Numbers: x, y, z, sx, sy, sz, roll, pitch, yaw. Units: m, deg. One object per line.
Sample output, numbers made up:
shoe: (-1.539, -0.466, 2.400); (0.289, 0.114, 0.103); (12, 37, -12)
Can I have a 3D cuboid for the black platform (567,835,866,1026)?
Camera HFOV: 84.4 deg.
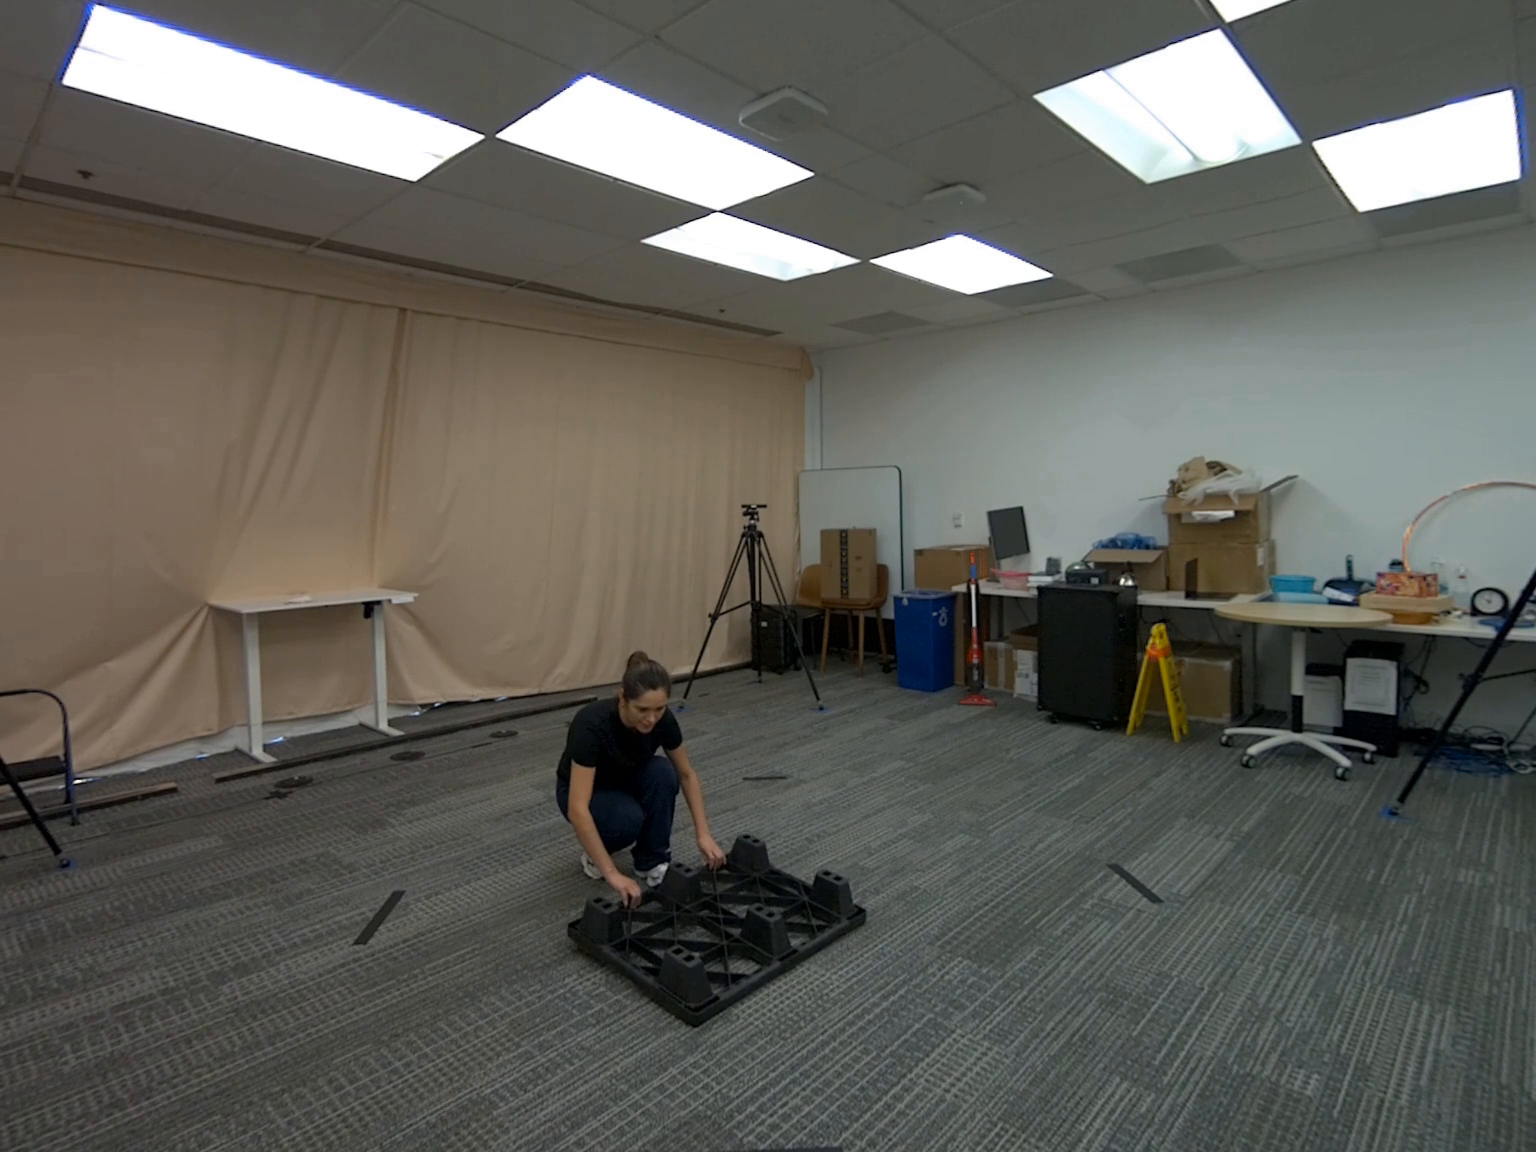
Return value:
black platform: (-0.130, 1.079, 2.713); (0.626, 0.143, 0.781); (8, 10, 42)
